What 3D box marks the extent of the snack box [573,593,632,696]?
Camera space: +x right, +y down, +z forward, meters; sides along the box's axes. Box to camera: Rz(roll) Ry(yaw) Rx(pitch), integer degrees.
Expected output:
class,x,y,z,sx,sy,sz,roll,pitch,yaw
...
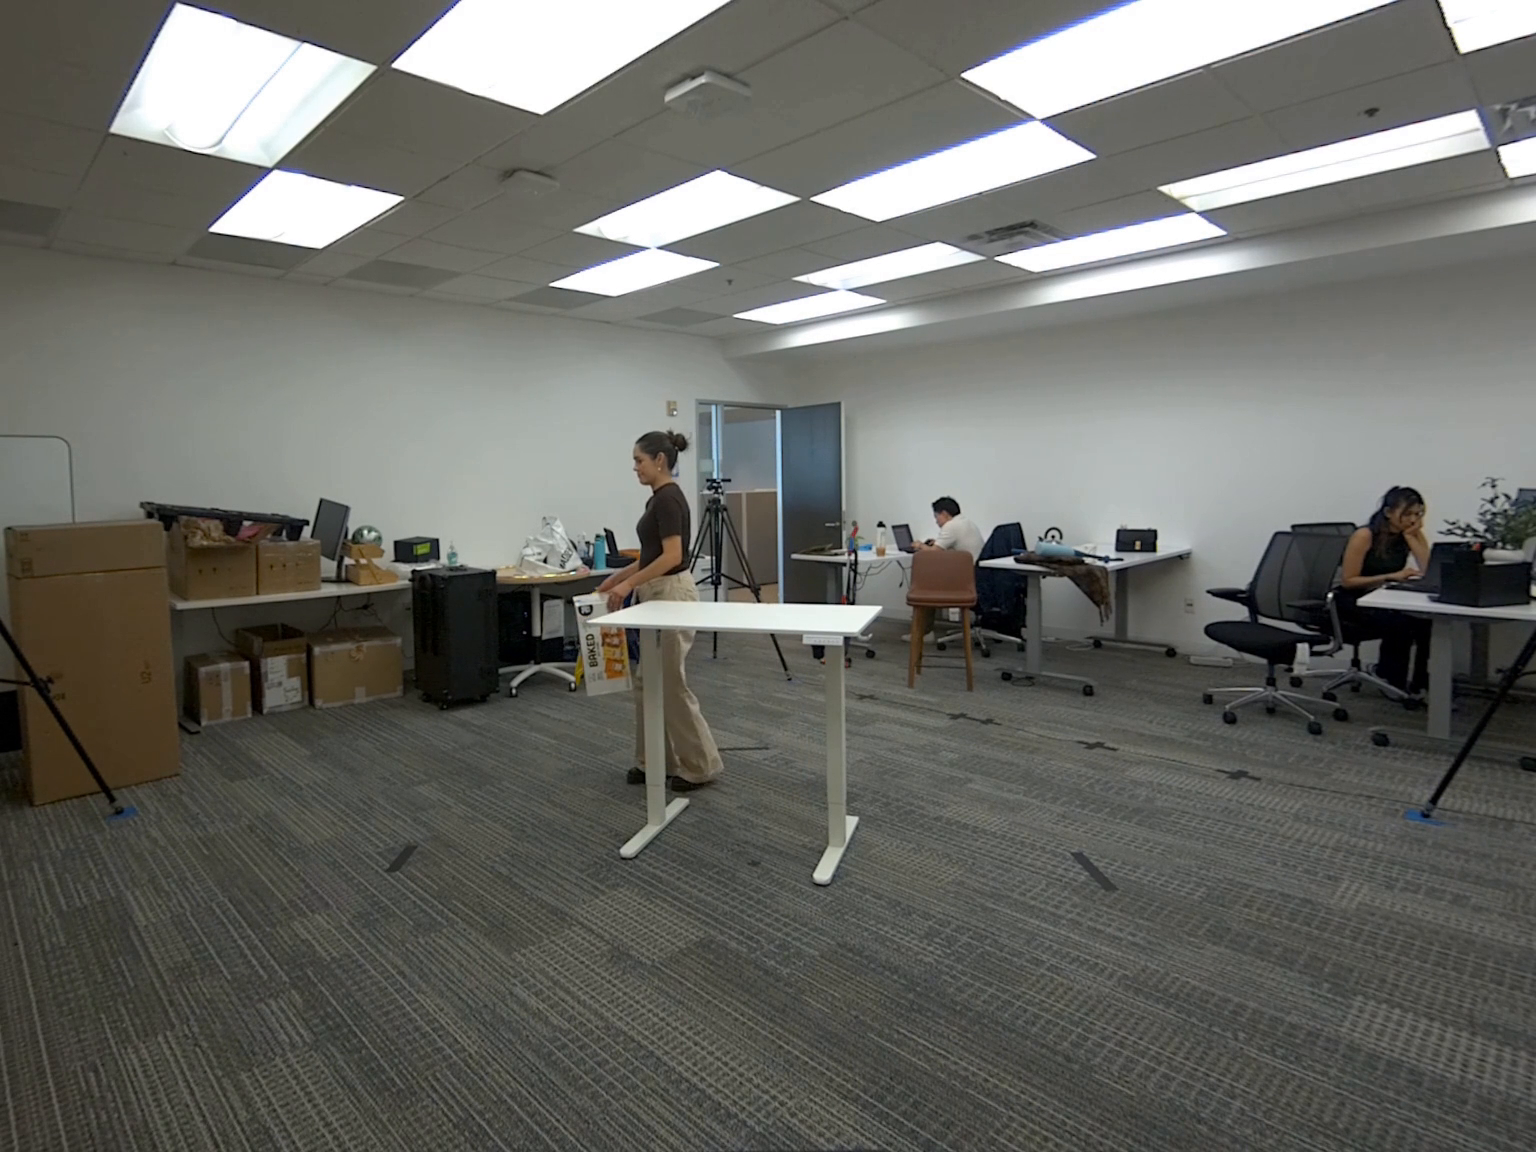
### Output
class,x,y,z,sx,sy,sz,roll,pitch,yaw
snack box,-0.771,0.308,3.926,0.203,0.404,0.345,-7,3,-15
